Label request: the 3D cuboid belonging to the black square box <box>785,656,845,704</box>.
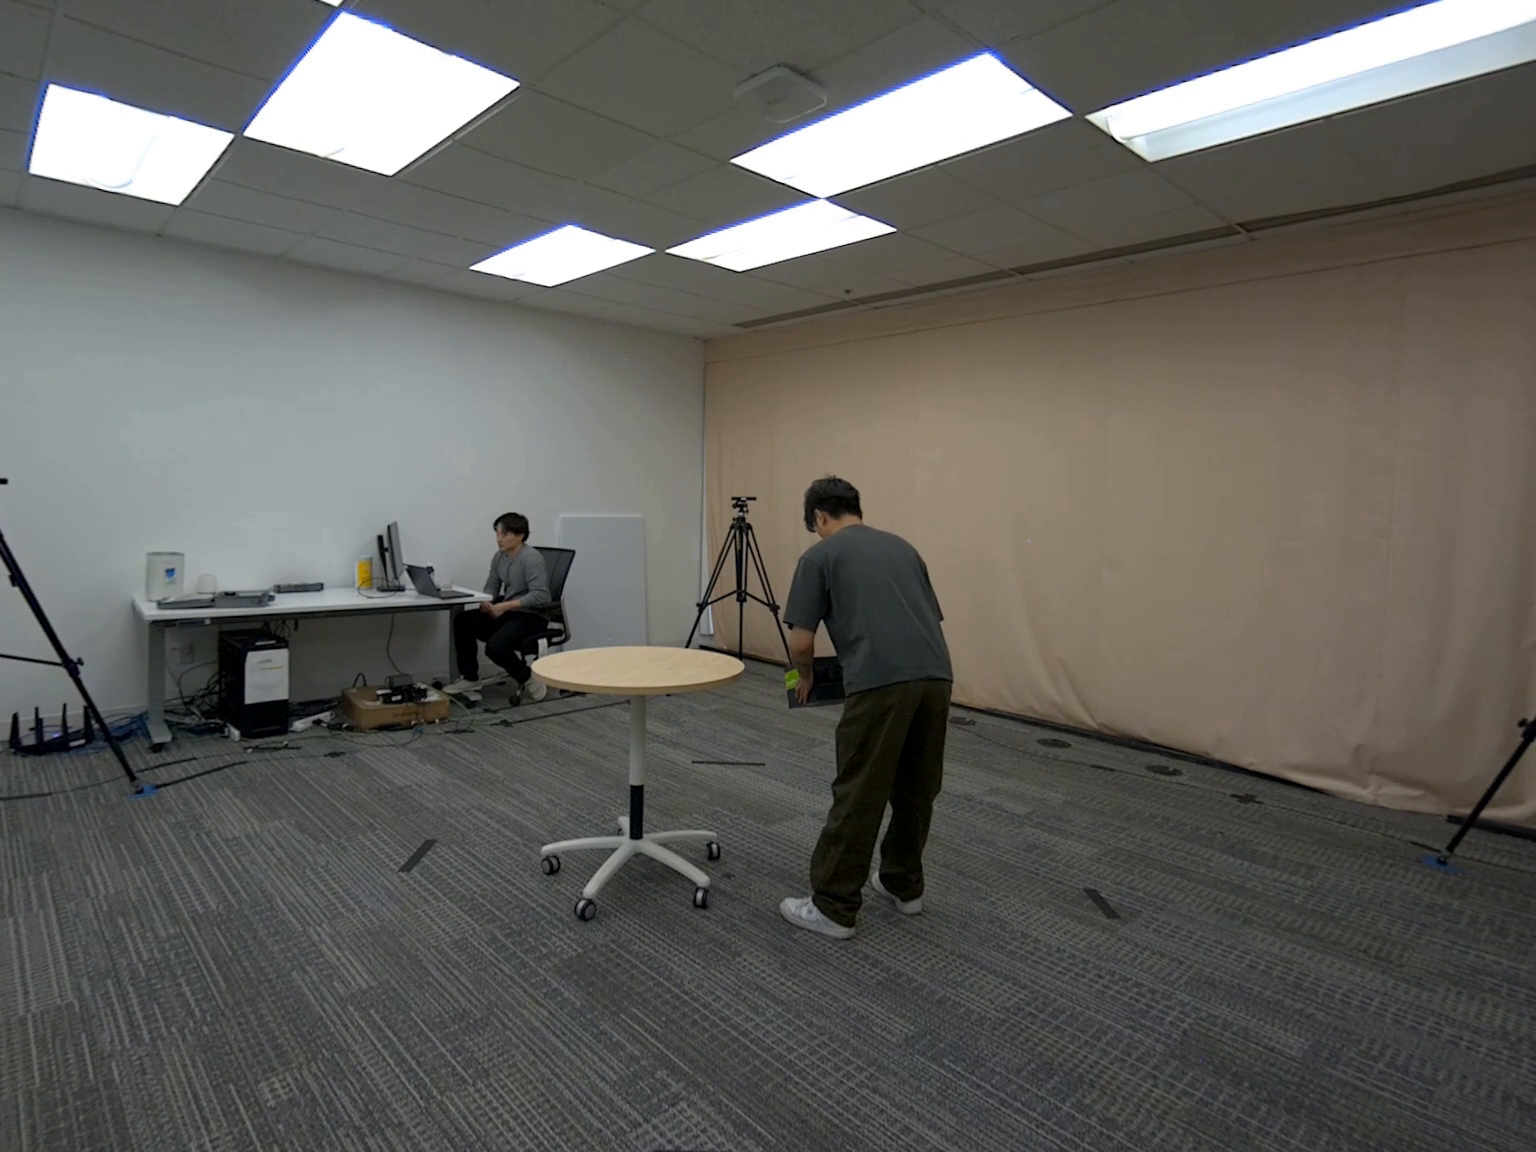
[{"bbox_3d":[0.203,0.398,3.154,0.213,0.158,0.229,0,-16,-26],"label":"black square box"}]
